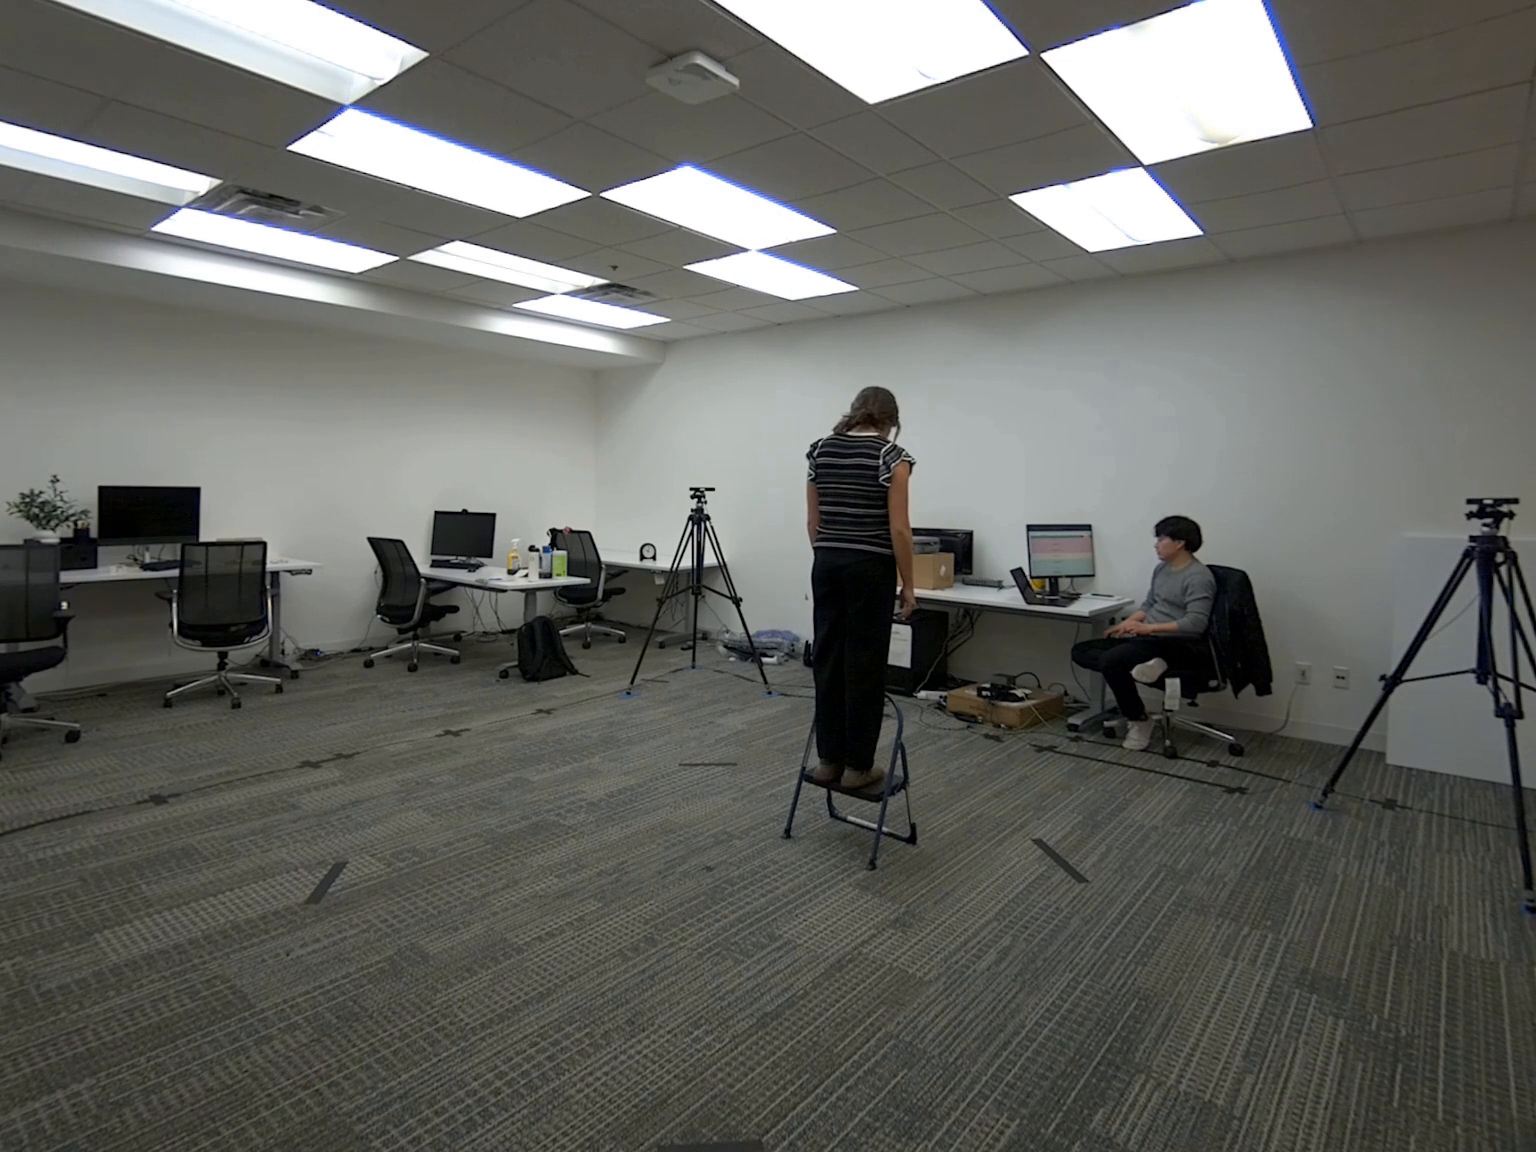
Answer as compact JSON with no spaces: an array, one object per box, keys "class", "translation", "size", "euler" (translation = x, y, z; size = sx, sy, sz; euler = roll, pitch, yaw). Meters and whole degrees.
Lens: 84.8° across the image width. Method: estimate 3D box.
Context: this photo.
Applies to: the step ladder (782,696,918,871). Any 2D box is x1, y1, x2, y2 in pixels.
[{"class":"step ladder","translation":[0.327,0.750,3.377],"size":[0.445,0.604,0.339],"euler":[5,5,40]}]
